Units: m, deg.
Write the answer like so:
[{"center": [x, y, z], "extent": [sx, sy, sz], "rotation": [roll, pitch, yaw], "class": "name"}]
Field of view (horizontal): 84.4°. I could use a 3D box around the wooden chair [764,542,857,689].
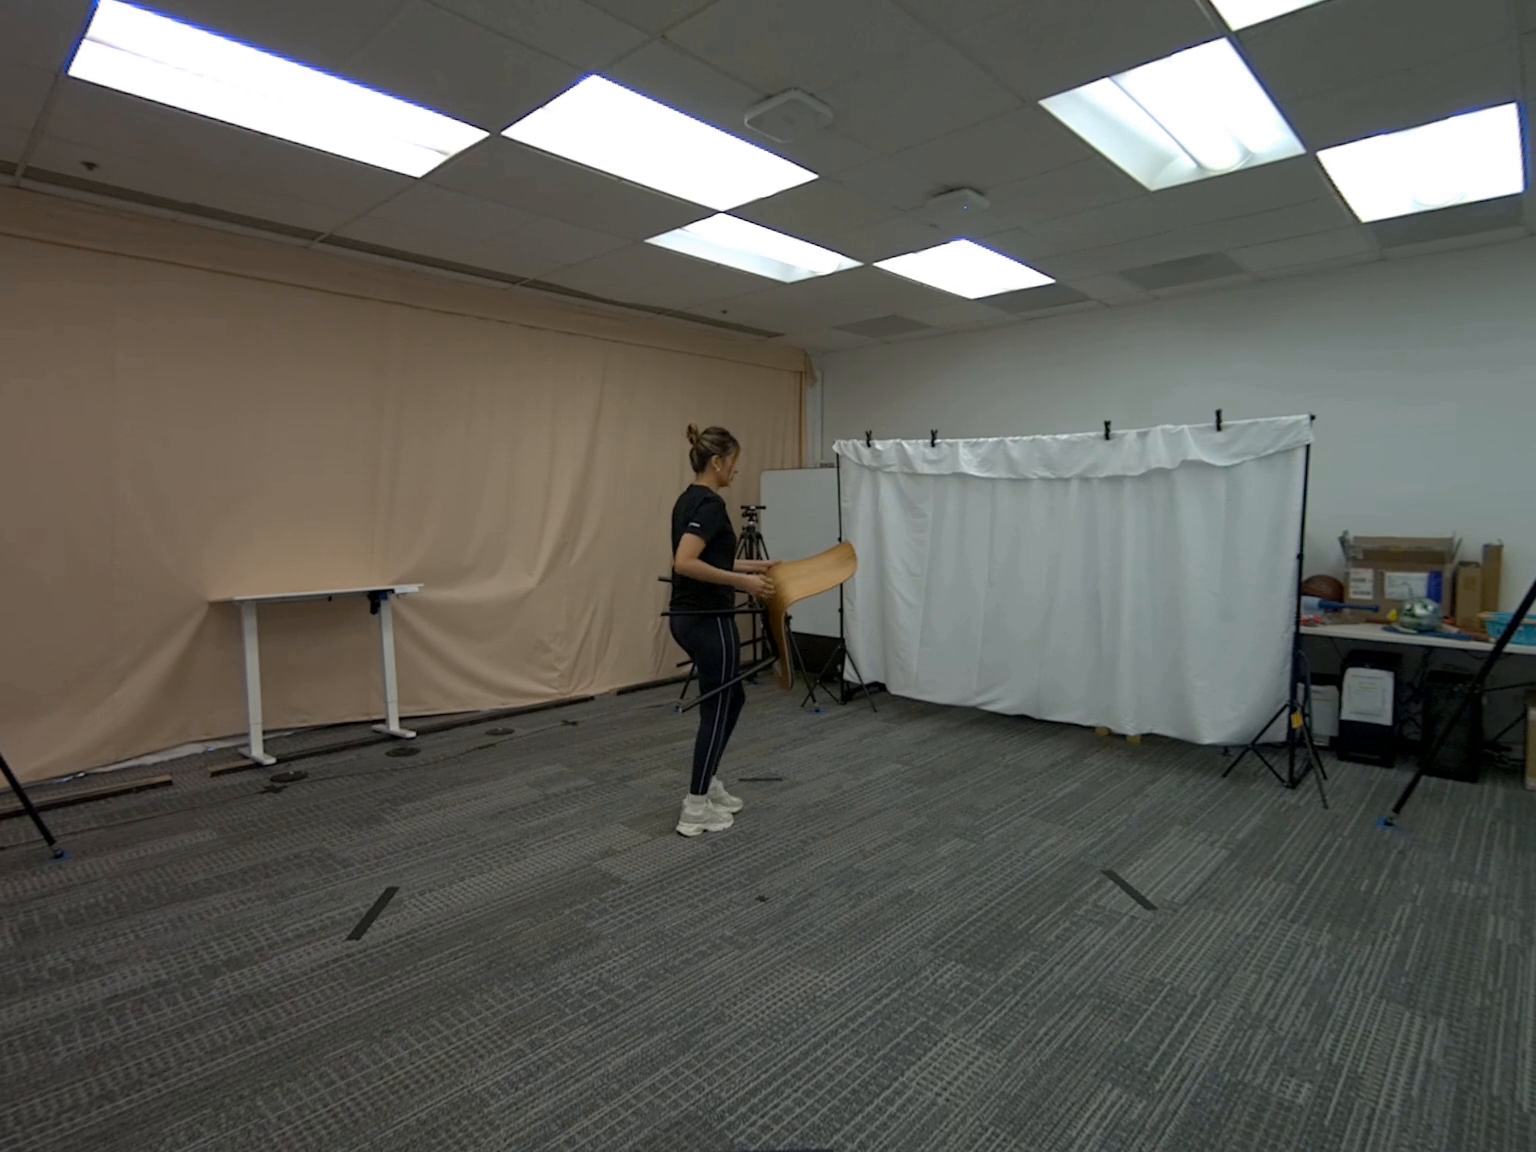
[{"center": [-0.001, 0.208, 3.648], "extent": [0.876, 0.516, 0.486], "rotation": [-14, 17, -2], "class": "wooden chair"}]
